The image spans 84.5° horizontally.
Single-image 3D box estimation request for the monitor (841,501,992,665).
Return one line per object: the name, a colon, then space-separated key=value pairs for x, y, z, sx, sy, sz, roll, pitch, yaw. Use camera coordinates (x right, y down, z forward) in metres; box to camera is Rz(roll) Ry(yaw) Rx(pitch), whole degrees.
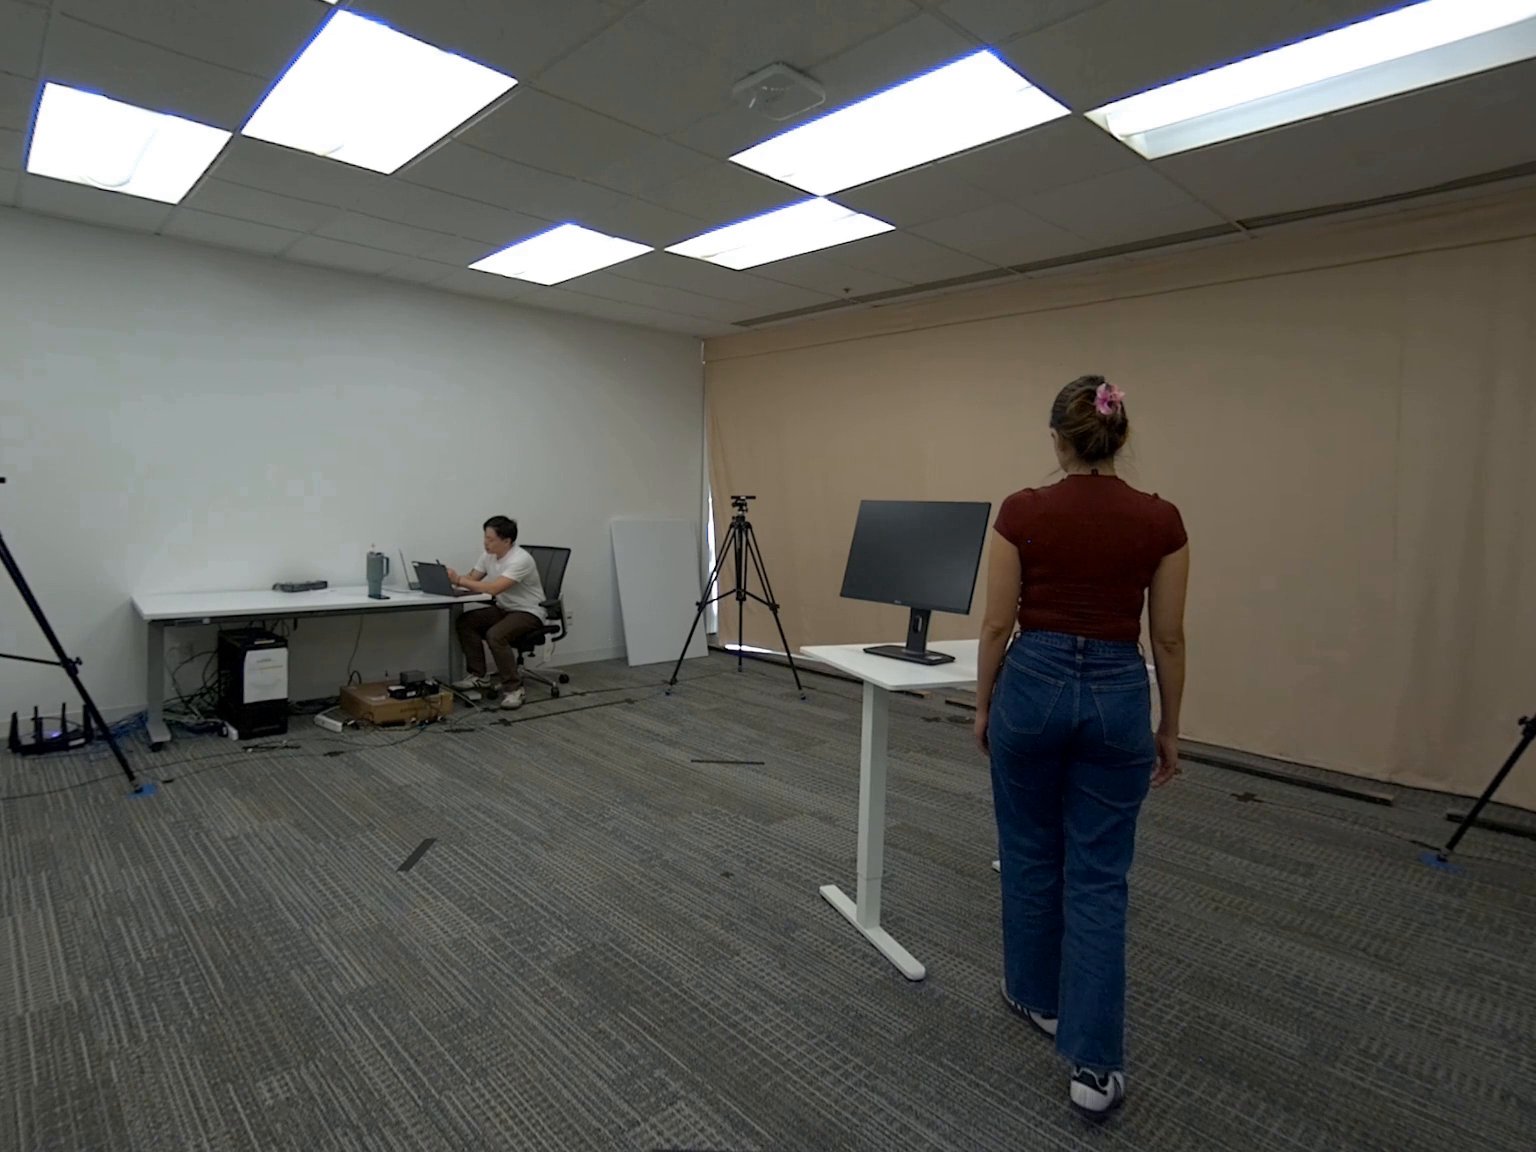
monitor: x=0.481 y=0.016 z=2.763 sx=0.182 sy=0.522 sz=0.553 roll=2 pitch=3 yaw=-41
